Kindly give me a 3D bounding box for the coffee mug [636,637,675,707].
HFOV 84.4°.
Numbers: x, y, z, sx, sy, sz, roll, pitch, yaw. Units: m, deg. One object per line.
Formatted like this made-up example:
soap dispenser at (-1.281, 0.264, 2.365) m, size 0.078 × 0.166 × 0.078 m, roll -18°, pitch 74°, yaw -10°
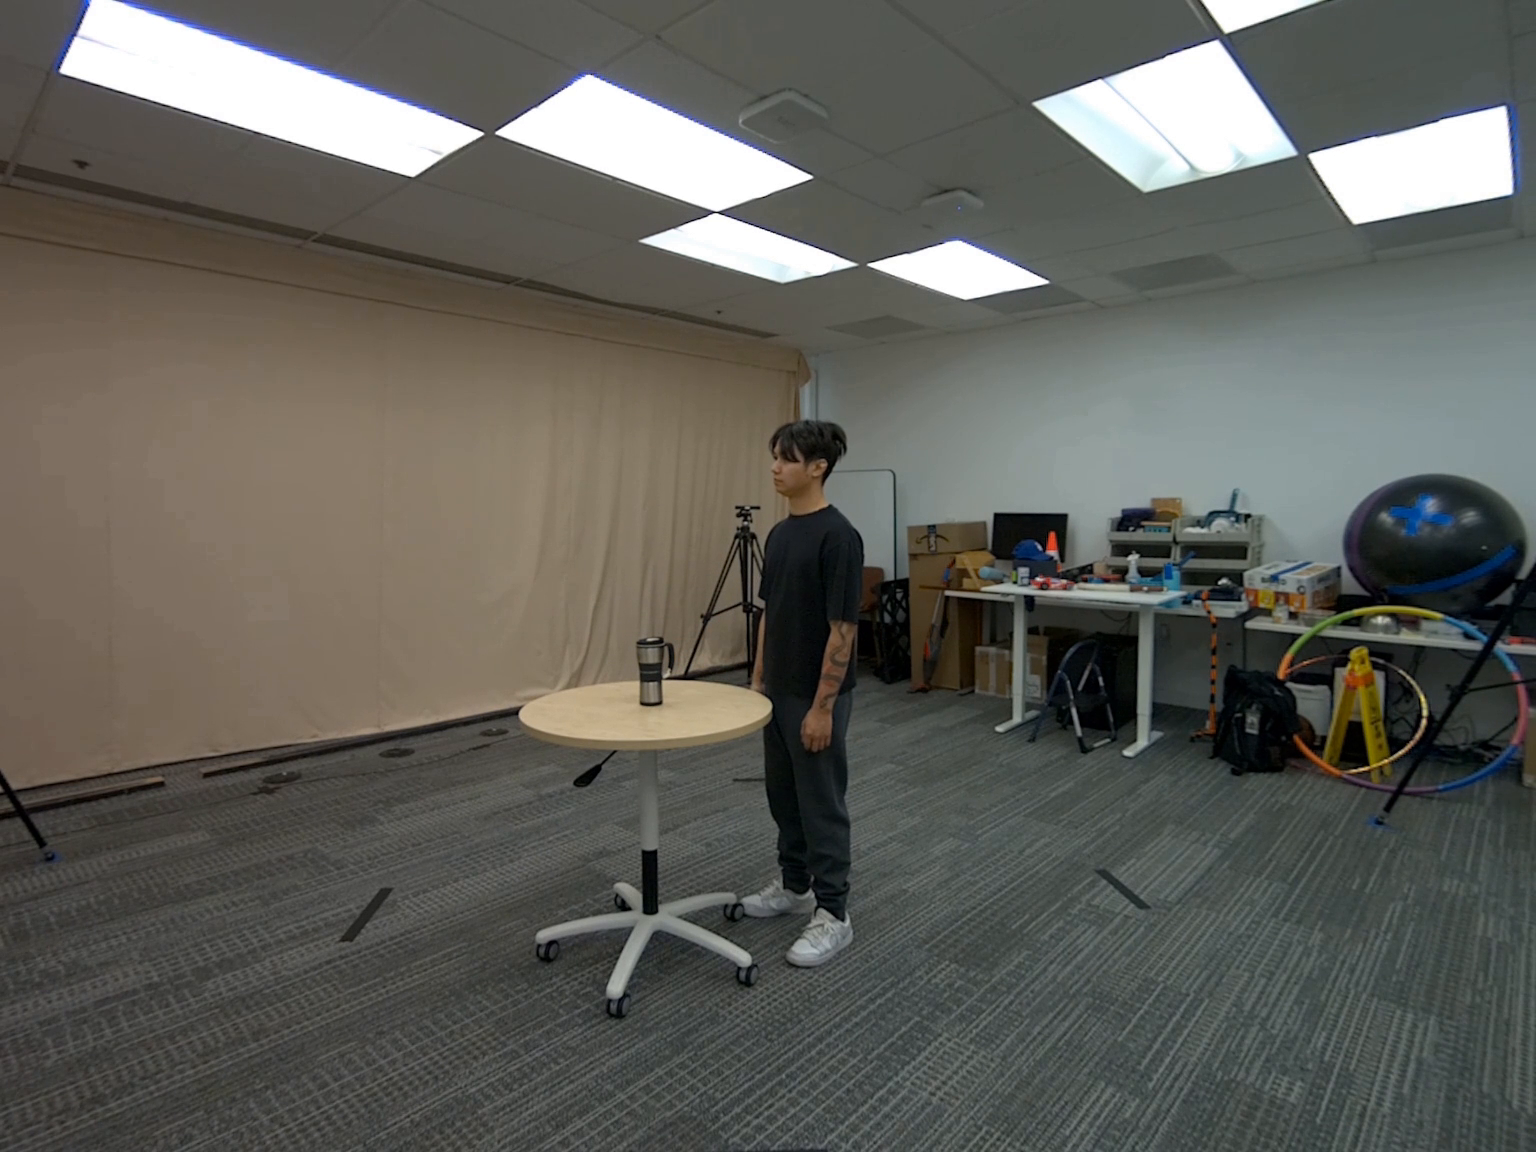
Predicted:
coffee mug at (-0.344, 0.297, 2.592) m, size 0.126 × 0.203 × 0.085 m, roll -4°, pitch -5°, yaw 38°
